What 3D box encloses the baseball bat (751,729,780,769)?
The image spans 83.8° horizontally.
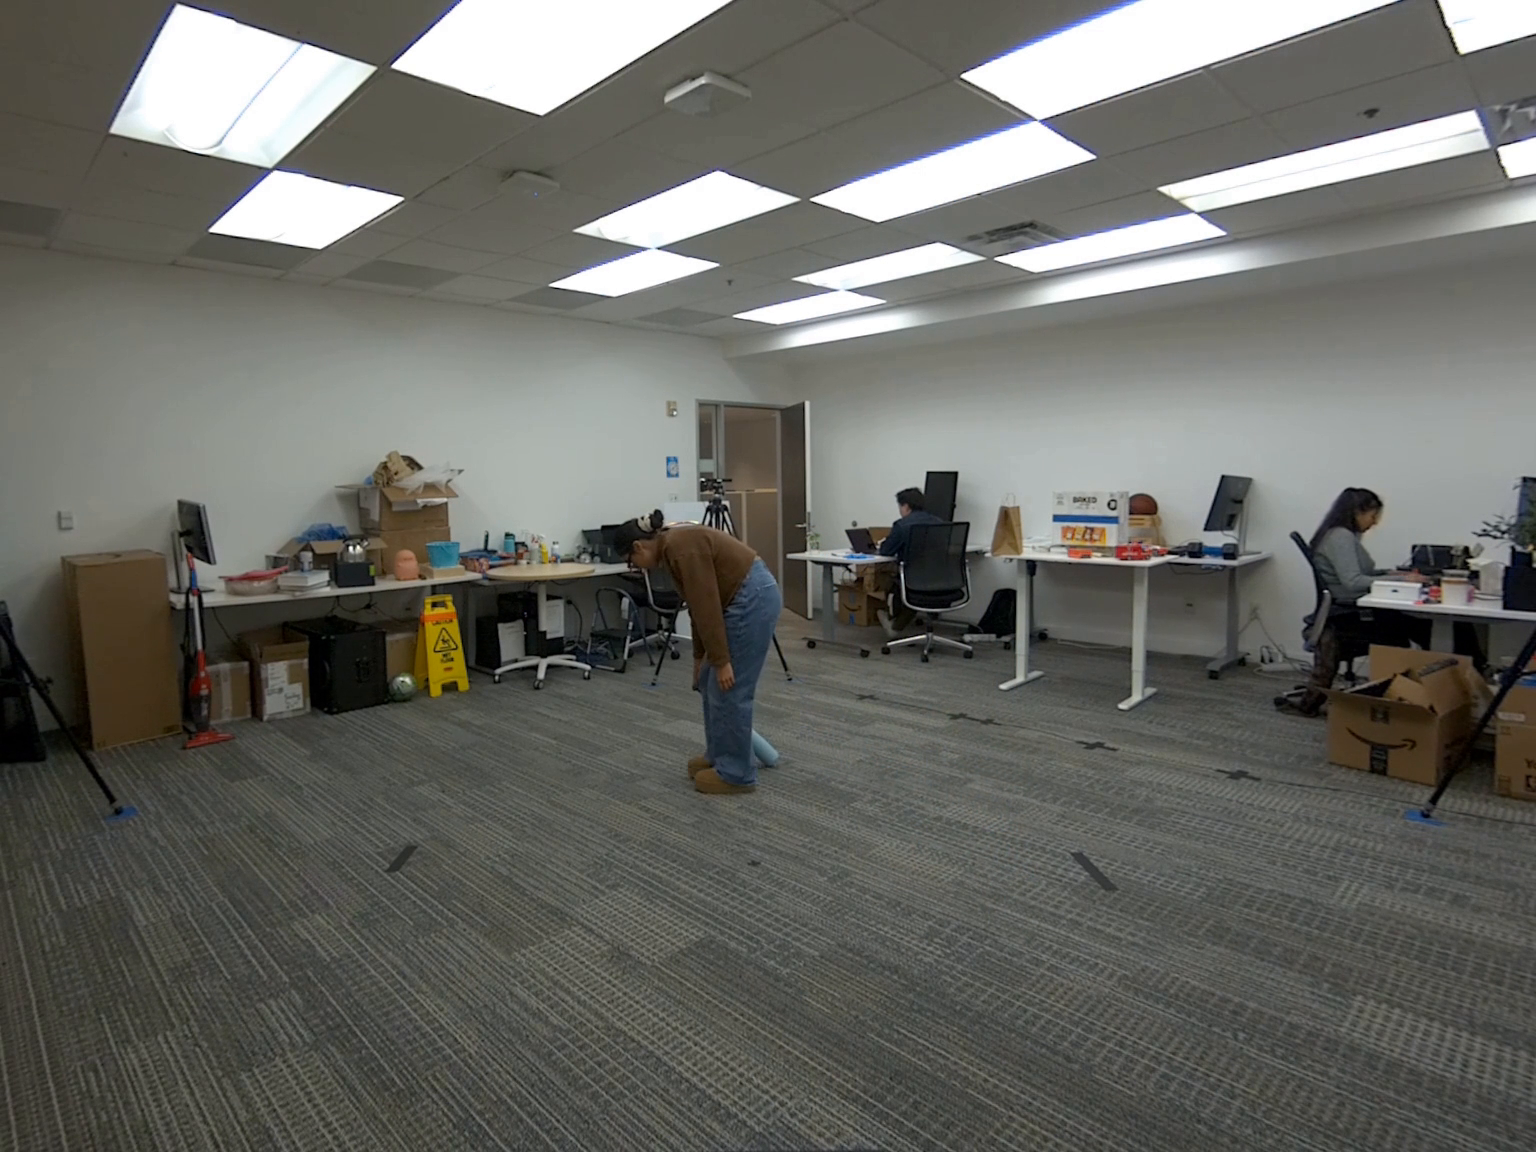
[{"bbox_3d":[-0.155,0.719,4.160,0.089,0.542,0.089,-46,2,2],"label":"baseball bat"}]
